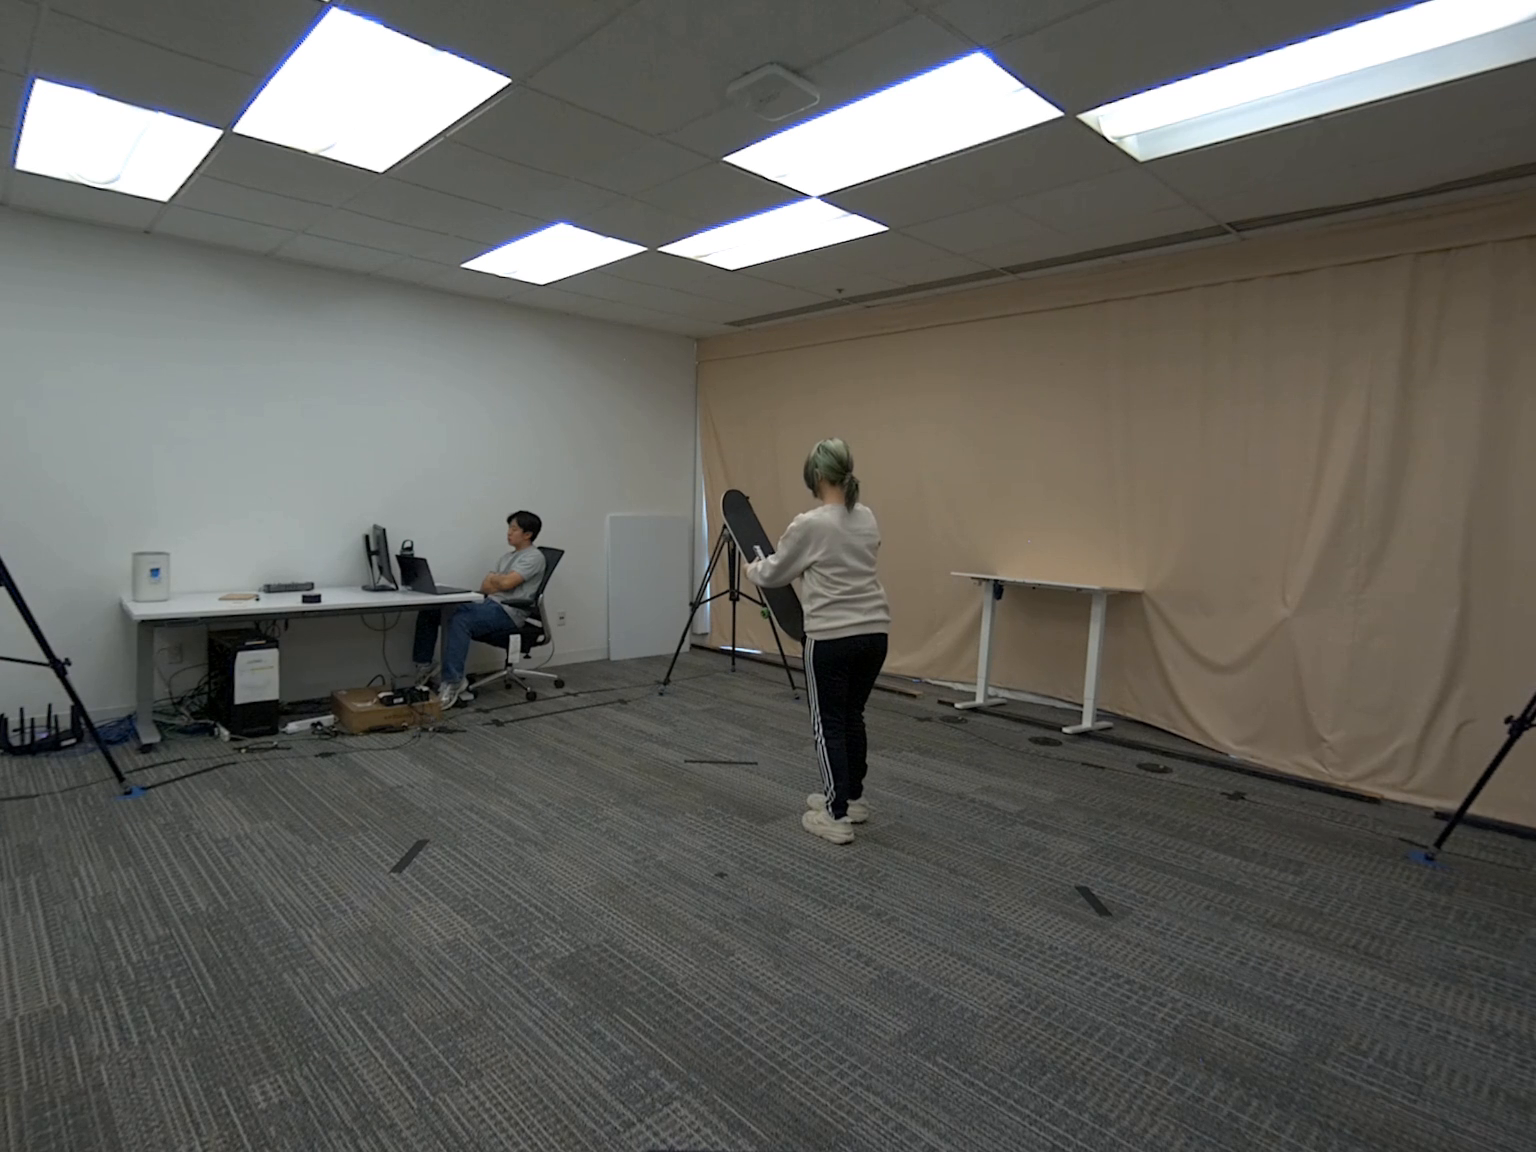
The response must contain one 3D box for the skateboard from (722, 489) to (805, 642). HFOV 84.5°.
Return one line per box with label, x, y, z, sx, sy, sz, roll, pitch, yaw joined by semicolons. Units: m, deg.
skateboard;-0.039;-0.036;3.945;0.190;0.792;0.111;-18;-12;-43
